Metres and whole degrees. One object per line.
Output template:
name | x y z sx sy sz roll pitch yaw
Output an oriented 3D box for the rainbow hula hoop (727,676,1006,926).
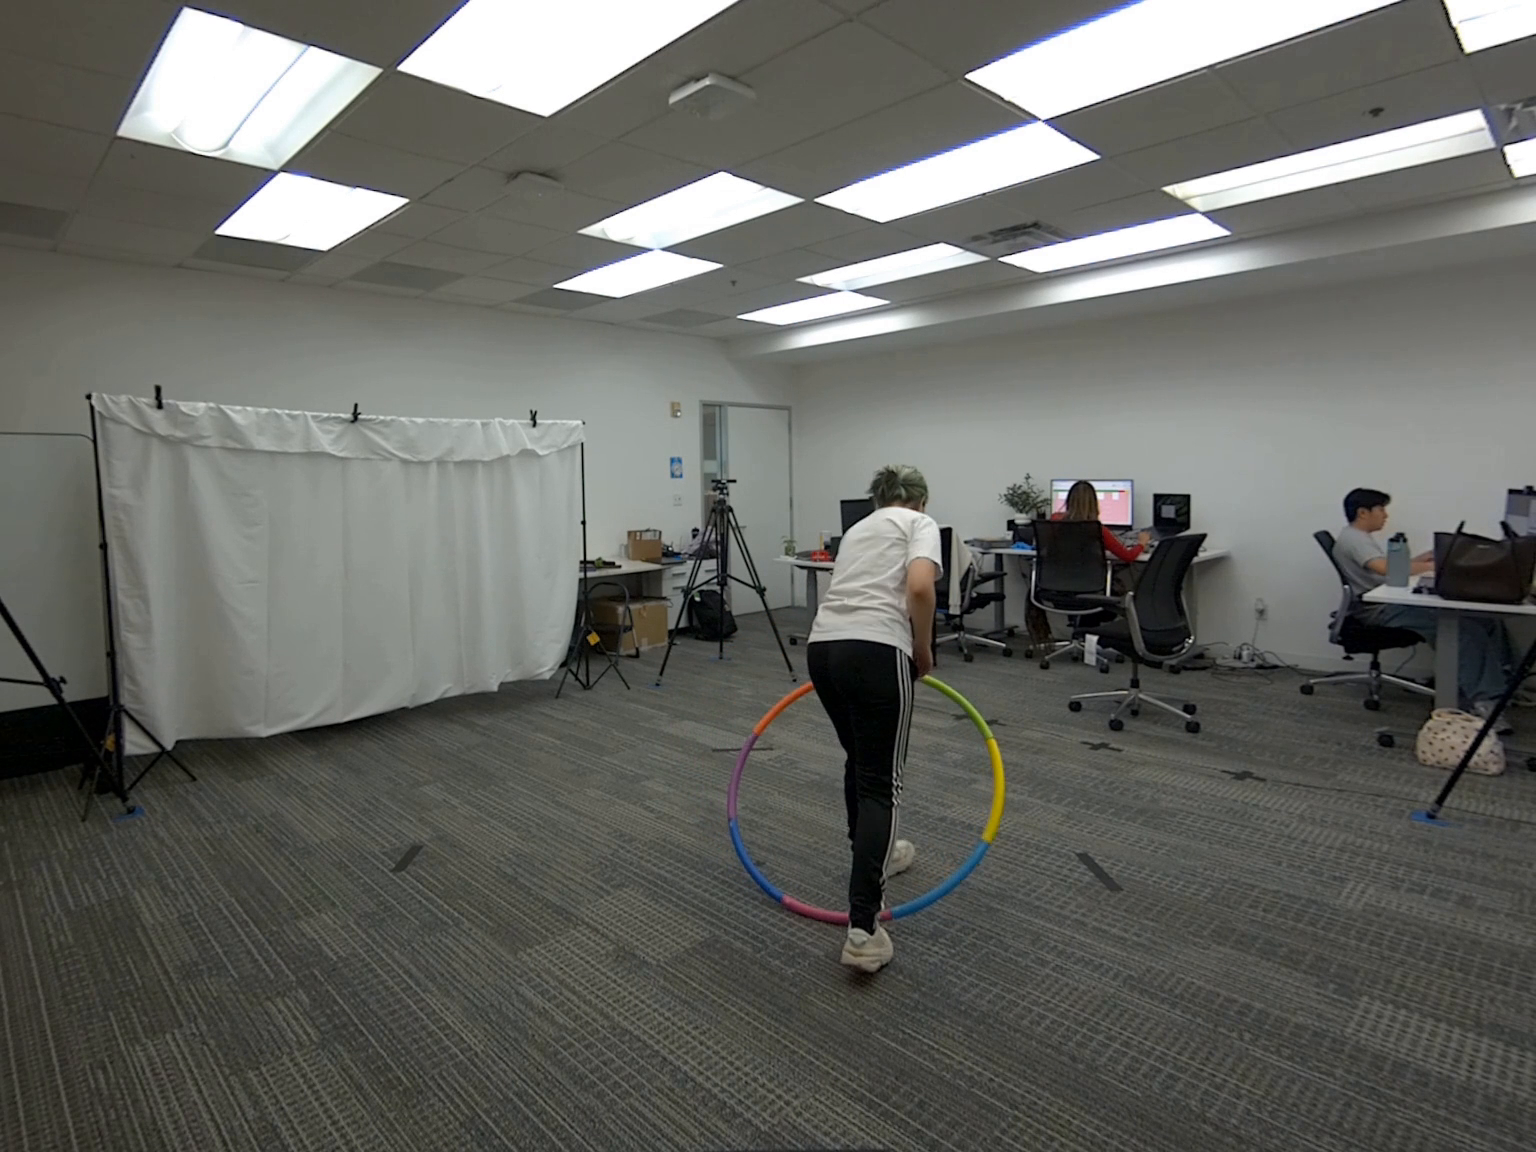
rainbow hula hoop | 0.316 0.721 2.988 0.987 0.034 1.006 -17 41 13
